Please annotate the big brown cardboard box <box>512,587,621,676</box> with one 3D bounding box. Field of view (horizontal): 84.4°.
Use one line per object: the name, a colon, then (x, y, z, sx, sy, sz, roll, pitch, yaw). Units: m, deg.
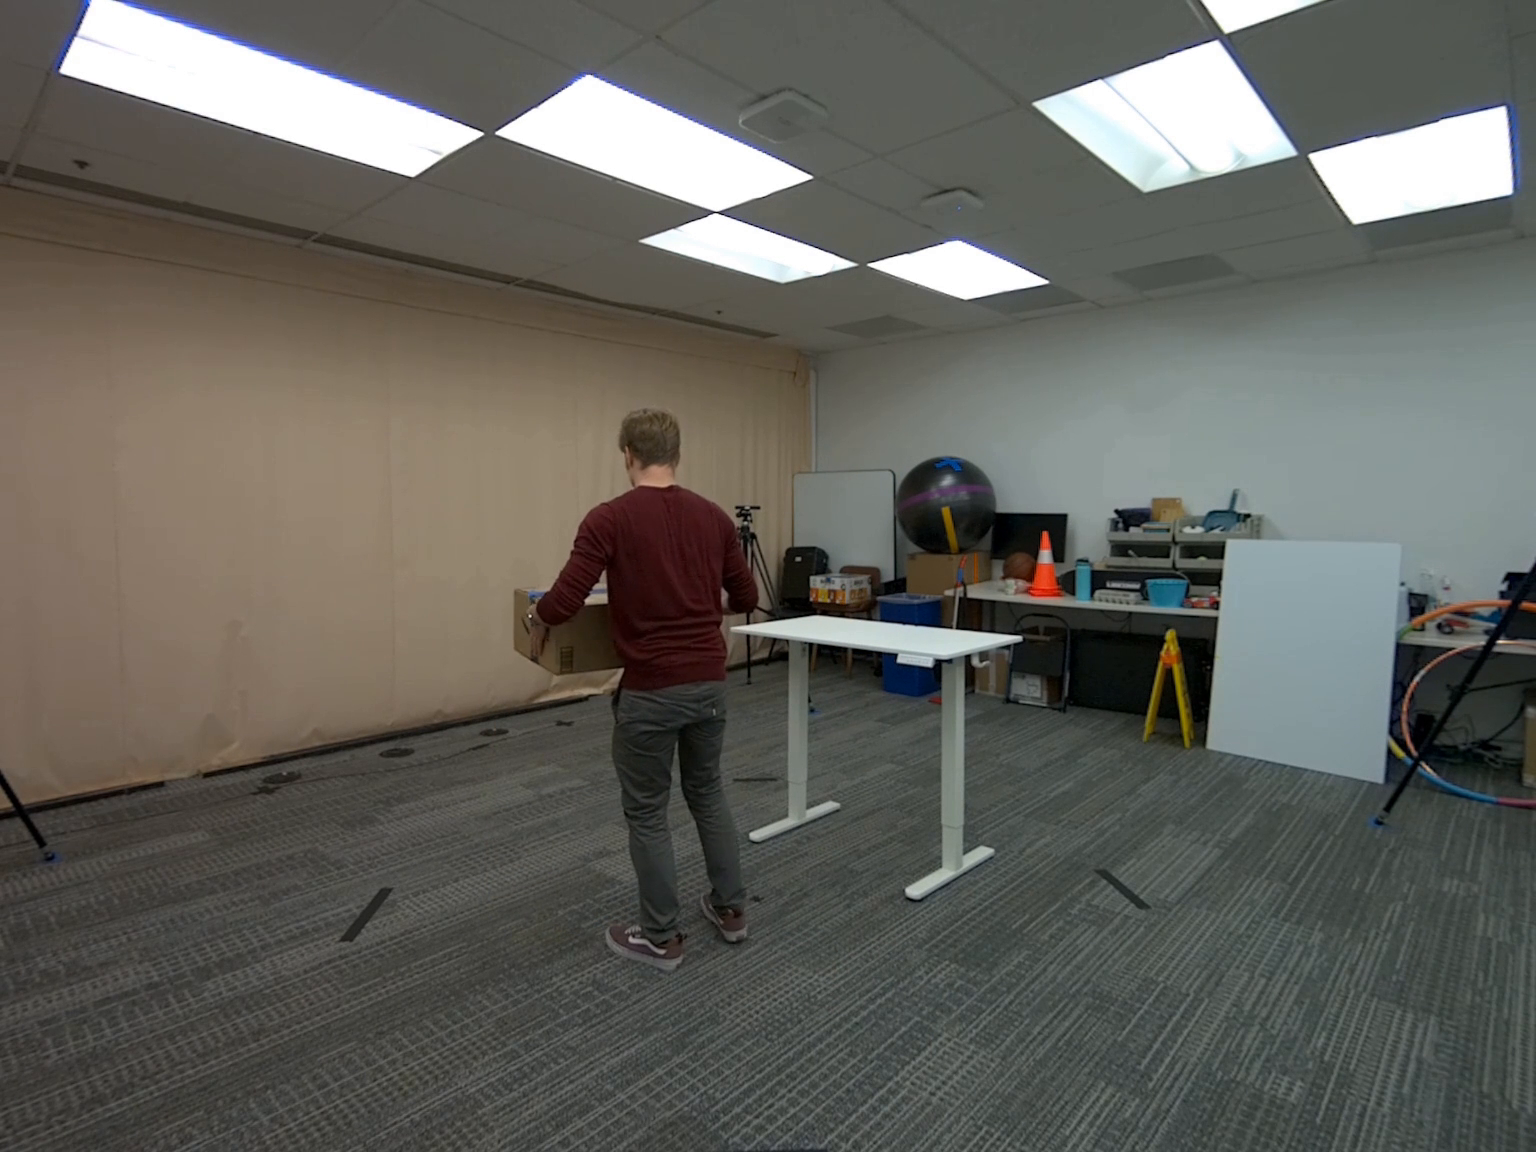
big brown cardboard box: (-0.520, 0.159, 2.852, 0.572, 0.232, 0.431, -2, 7, -33)
